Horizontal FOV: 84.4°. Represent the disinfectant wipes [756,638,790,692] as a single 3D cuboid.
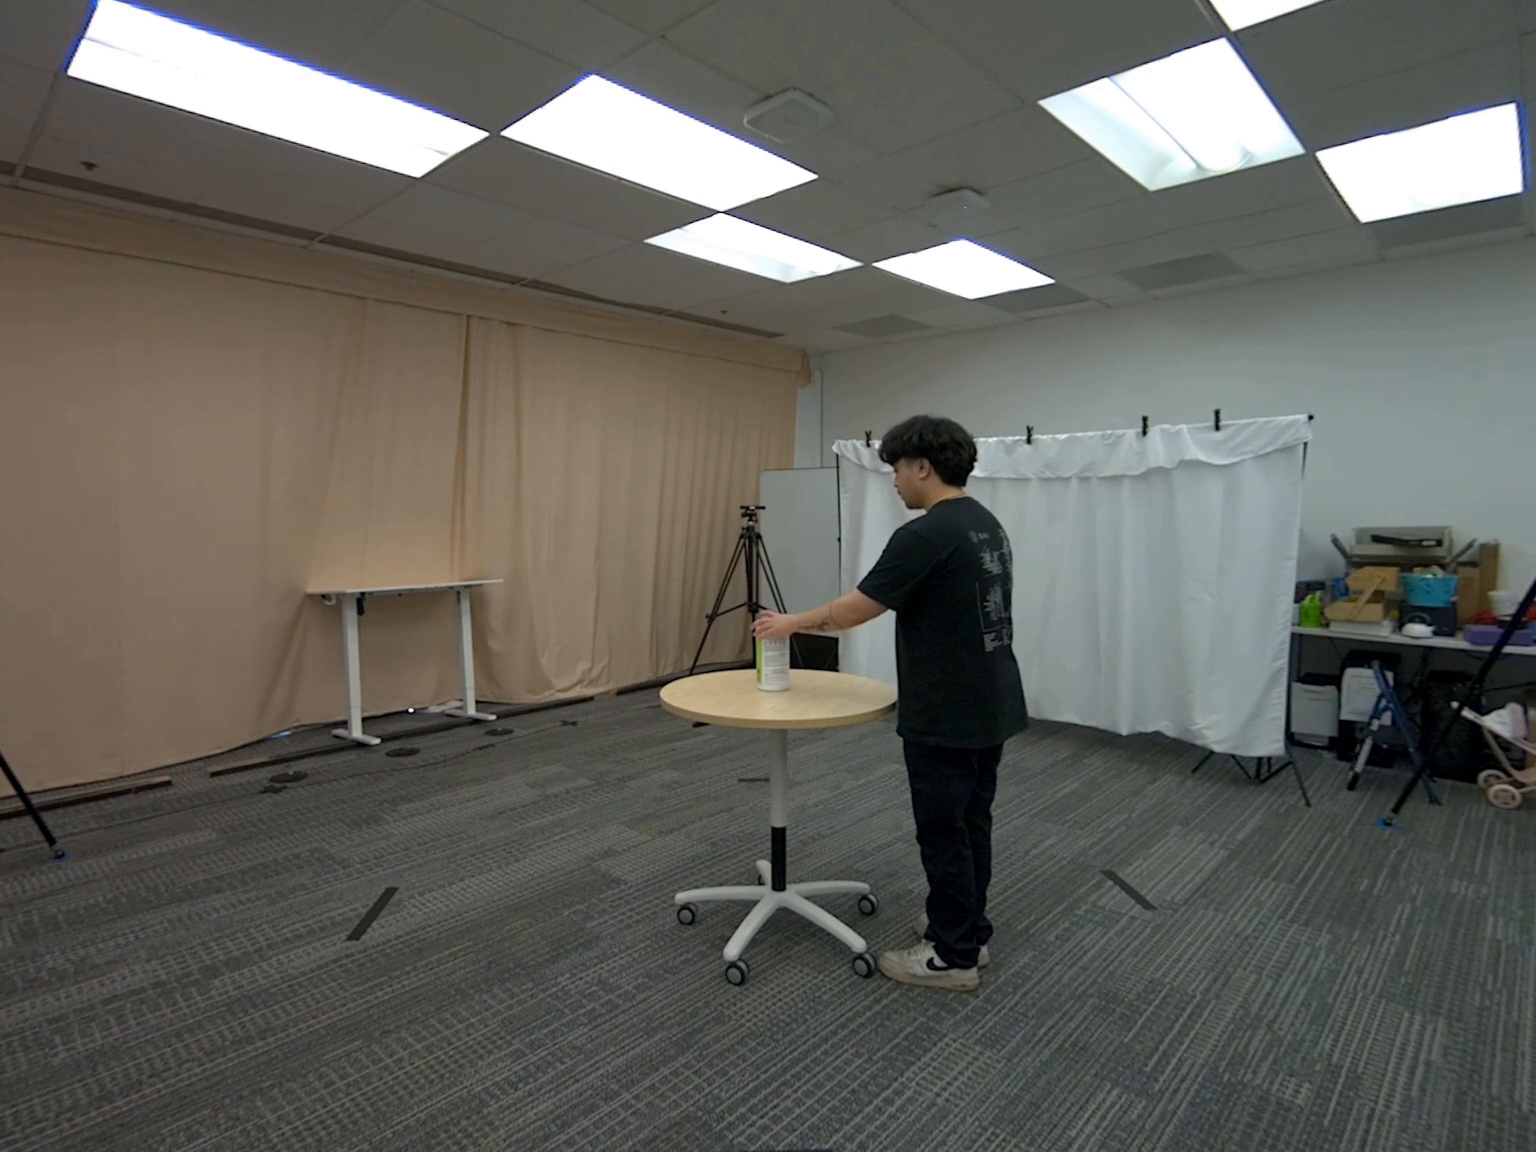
[{"bbox_3d":[0.023,0.269,2.754,0.118,0.217,0.118,2,1,-2],"label":"disinfectant wipes"}]
